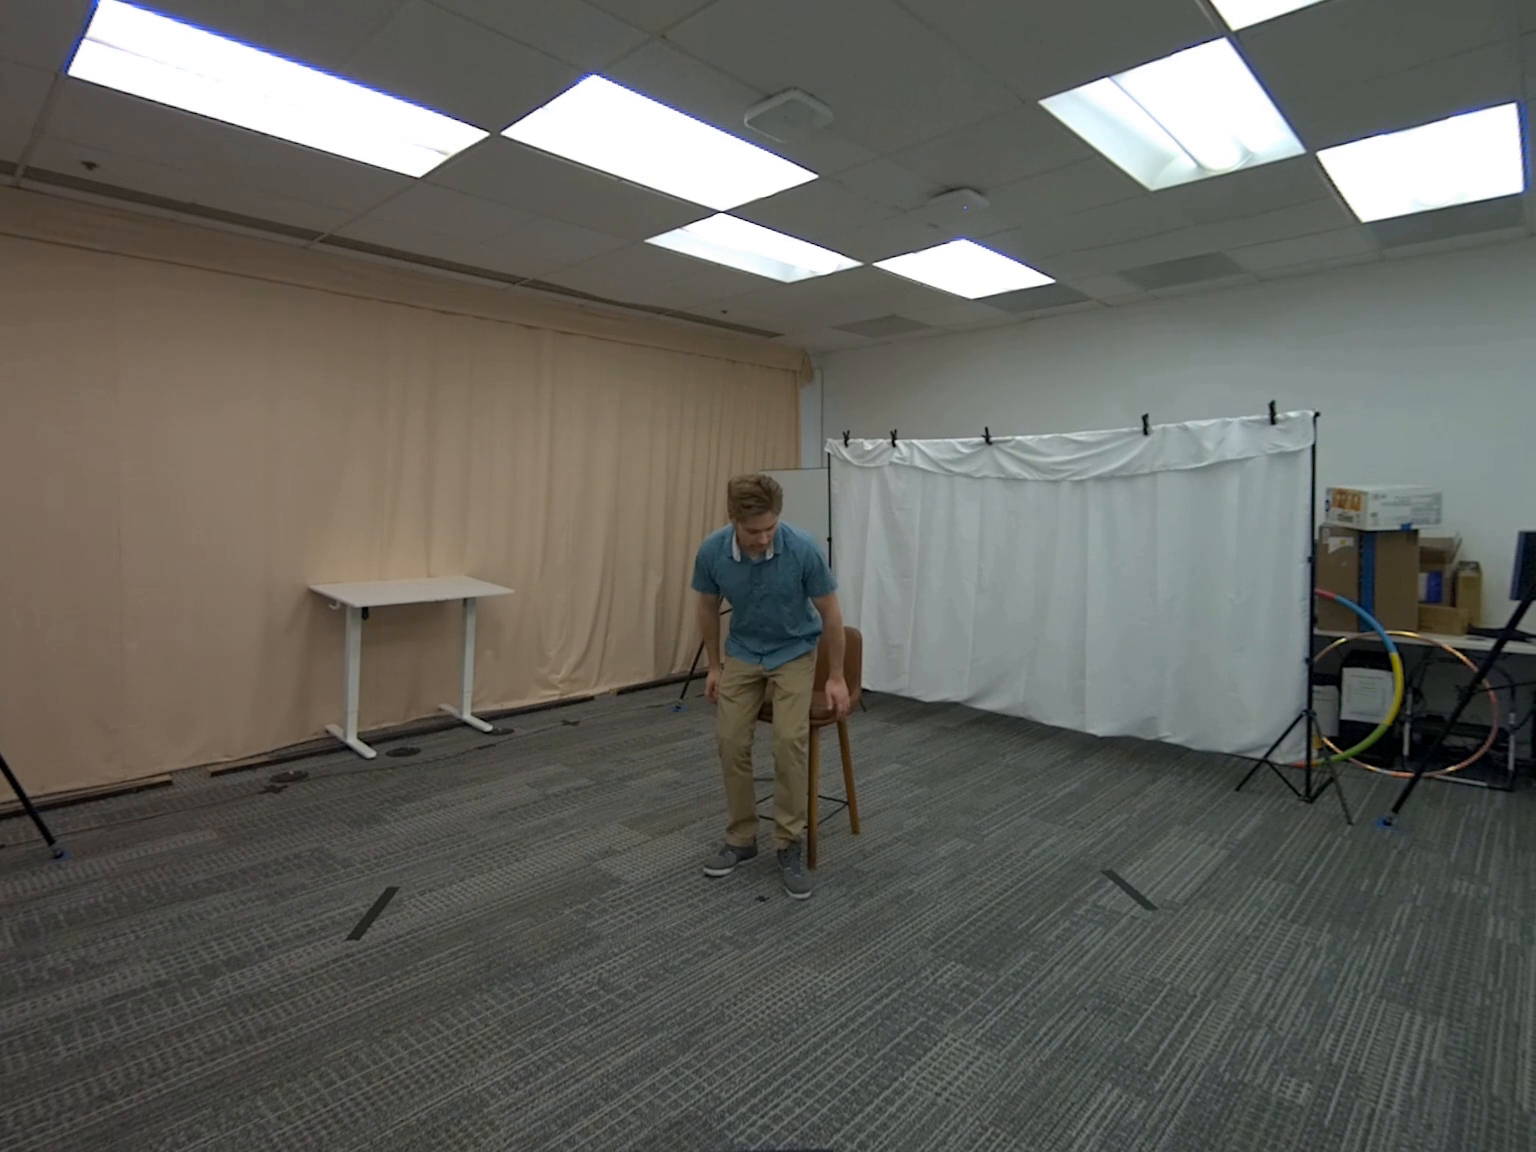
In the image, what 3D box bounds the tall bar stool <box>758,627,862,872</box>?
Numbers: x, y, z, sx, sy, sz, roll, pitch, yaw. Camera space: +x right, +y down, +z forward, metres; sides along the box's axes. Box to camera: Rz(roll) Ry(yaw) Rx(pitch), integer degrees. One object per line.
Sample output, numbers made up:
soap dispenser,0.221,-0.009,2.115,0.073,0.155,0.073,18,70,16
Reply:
tall bar stool,0.122,0.661,3.490,0.470,0.889,0.454,2,2,33
